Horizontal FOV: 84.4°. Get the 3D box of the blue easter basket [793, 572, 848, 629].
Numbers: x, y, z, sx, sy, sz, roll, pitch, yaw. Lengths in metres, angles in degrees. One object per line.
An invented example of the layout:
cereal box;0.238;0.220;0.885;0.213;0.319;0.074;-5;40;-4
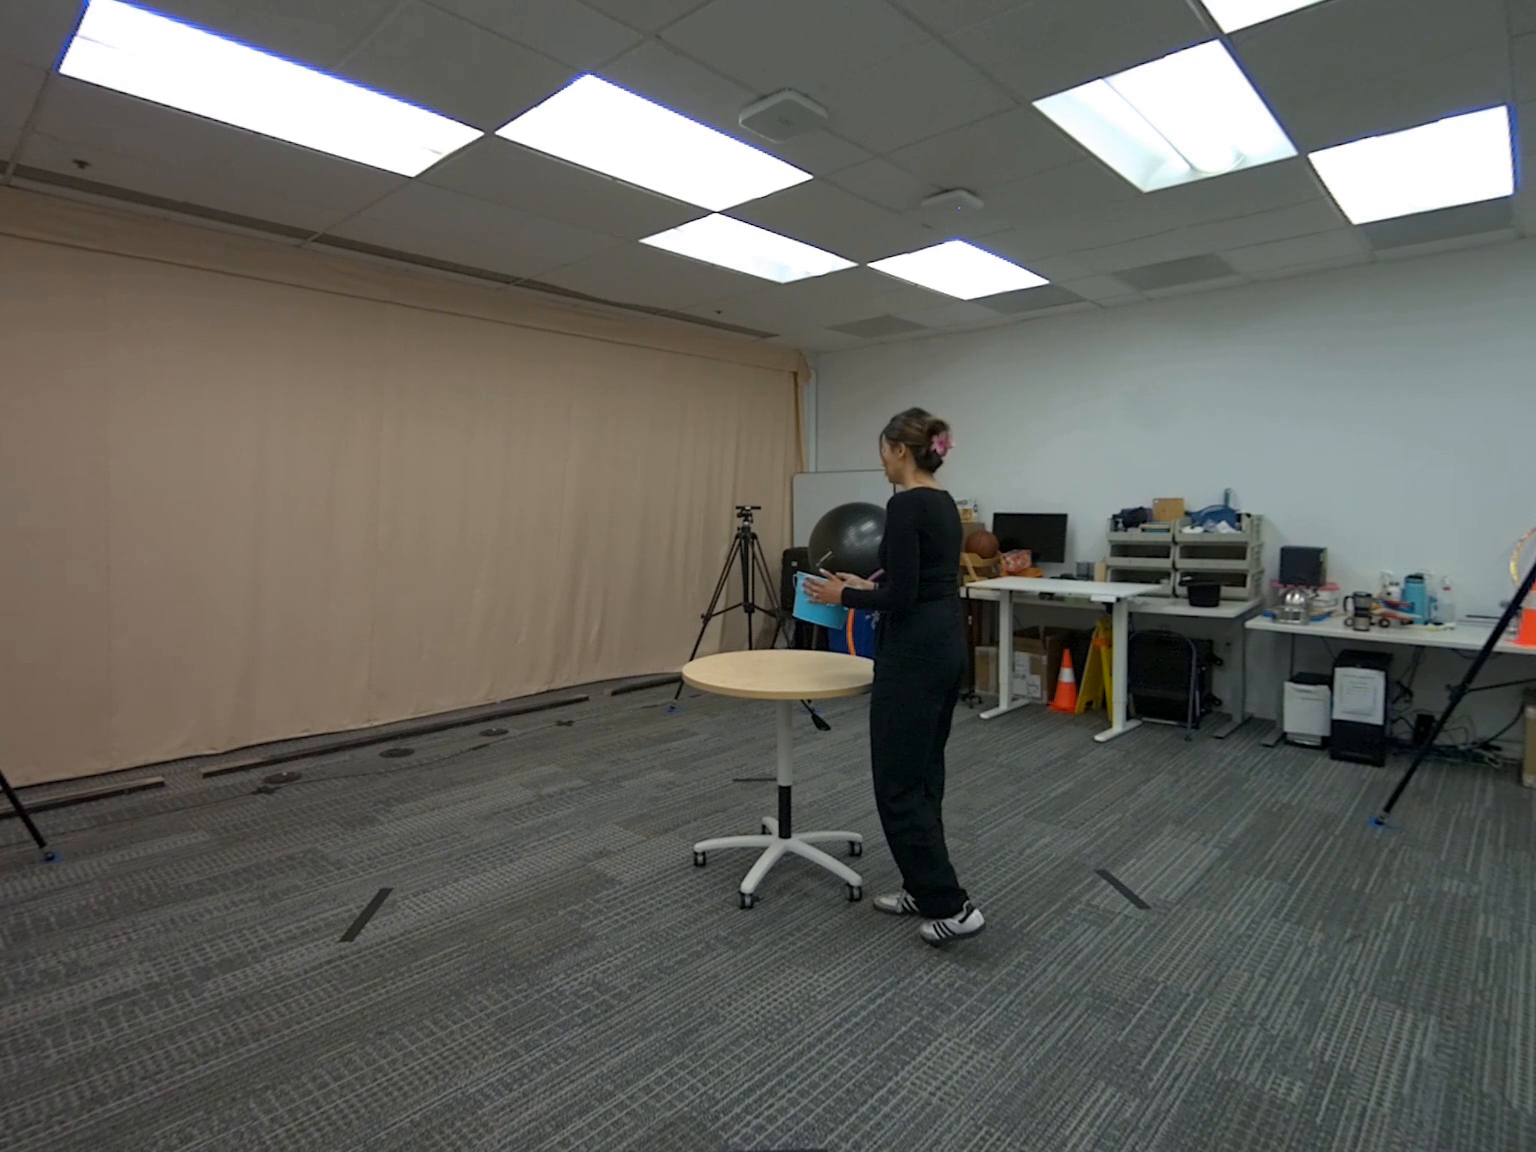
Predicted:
blue easter basket;0.216;0.098;2.968;0.243;0.156;0.244;14;1;-2
